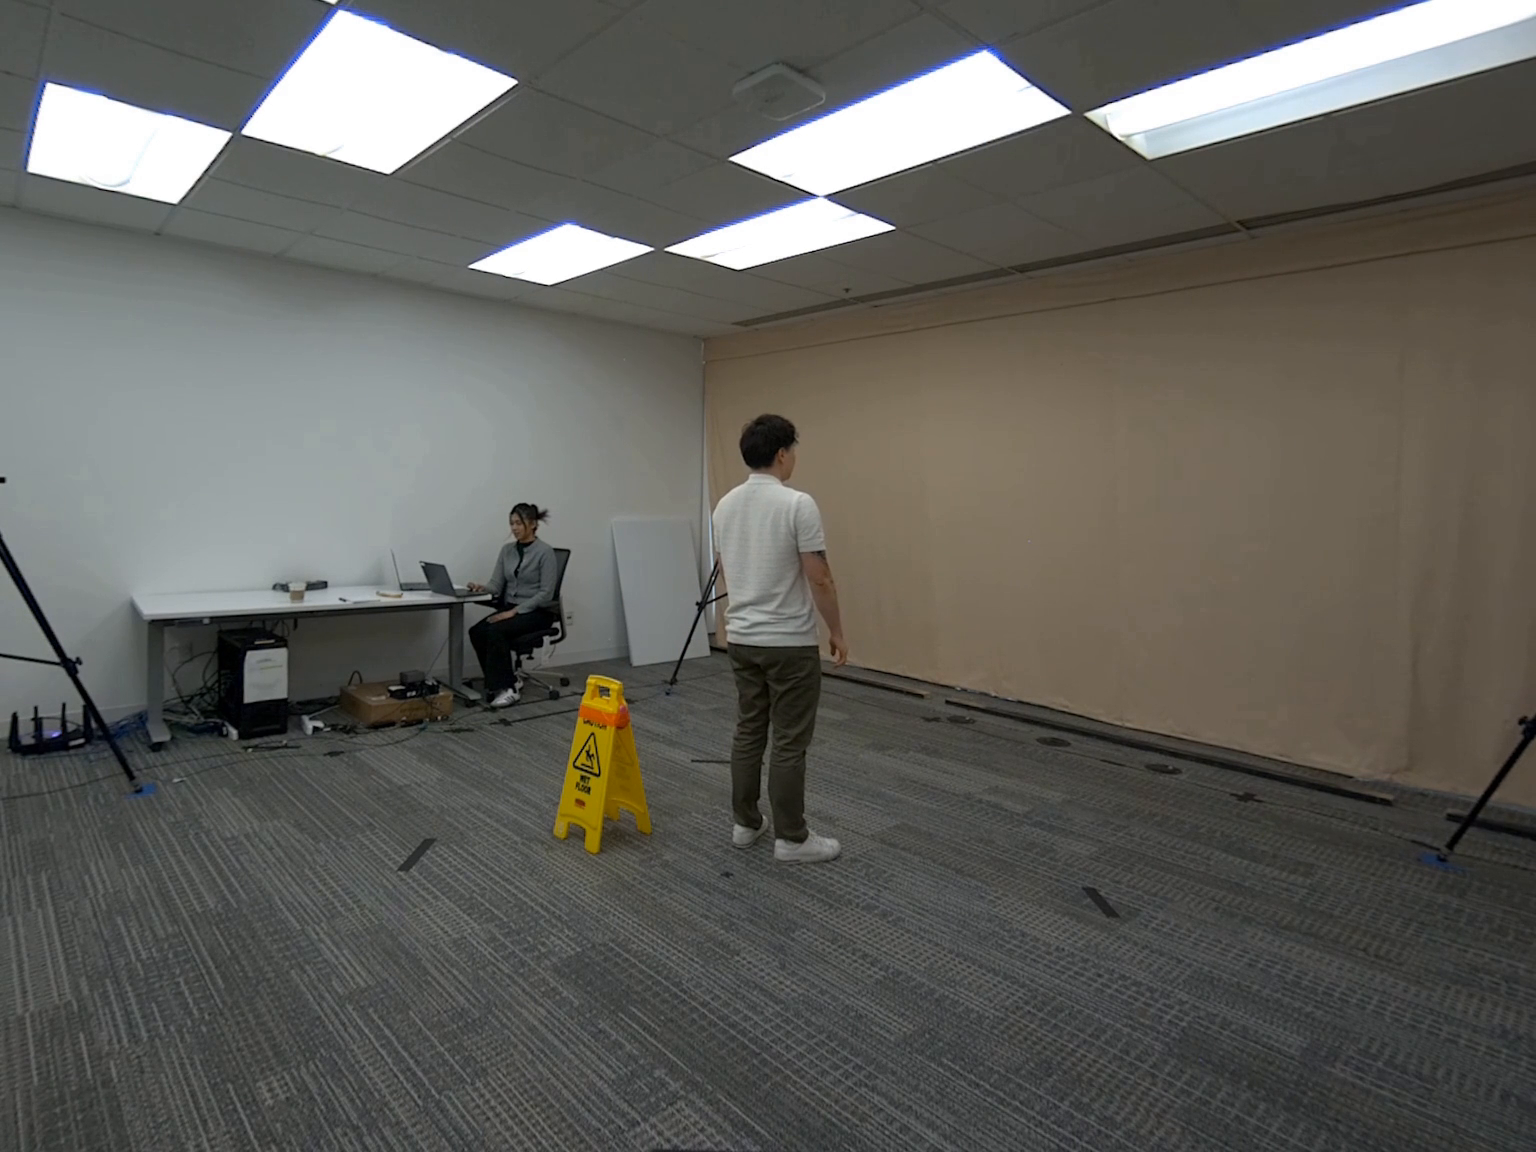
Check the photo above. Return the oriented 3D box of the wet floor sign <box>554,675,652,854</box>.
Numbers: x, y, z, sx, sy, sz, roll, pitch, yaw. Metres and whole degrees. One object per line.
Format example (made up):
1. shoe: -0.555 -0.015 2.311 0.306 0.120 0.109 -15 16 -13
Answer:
1. wet floor sign: -0.672 0.734 3.437 0.289 0.644 0.283 4 4 40
